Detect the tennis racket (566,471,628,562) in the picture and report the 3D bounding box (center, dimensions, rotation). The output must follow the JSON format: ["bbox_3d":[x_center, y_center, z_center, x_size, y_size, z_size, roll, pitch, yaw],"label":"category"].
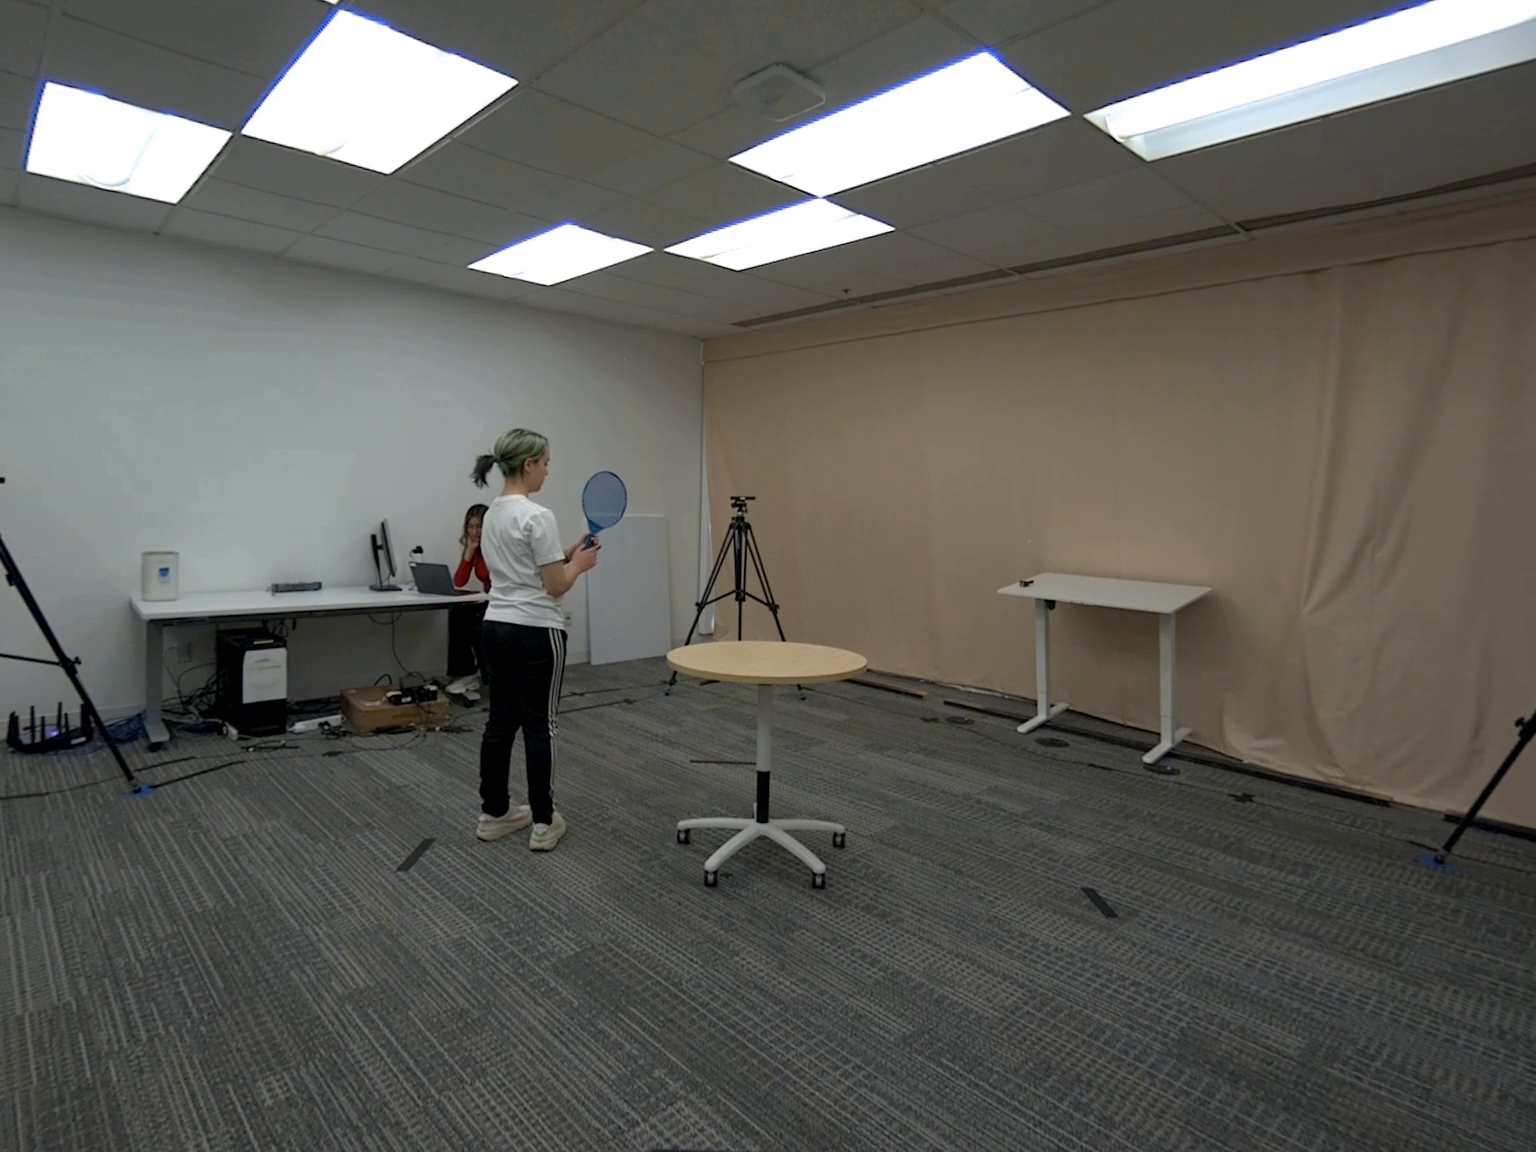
[{"bbox_3d":[-0.745,-0.261,3.619,0.208,0.437,0.032,37,-32,-27],"label":"tennis racket"}]
